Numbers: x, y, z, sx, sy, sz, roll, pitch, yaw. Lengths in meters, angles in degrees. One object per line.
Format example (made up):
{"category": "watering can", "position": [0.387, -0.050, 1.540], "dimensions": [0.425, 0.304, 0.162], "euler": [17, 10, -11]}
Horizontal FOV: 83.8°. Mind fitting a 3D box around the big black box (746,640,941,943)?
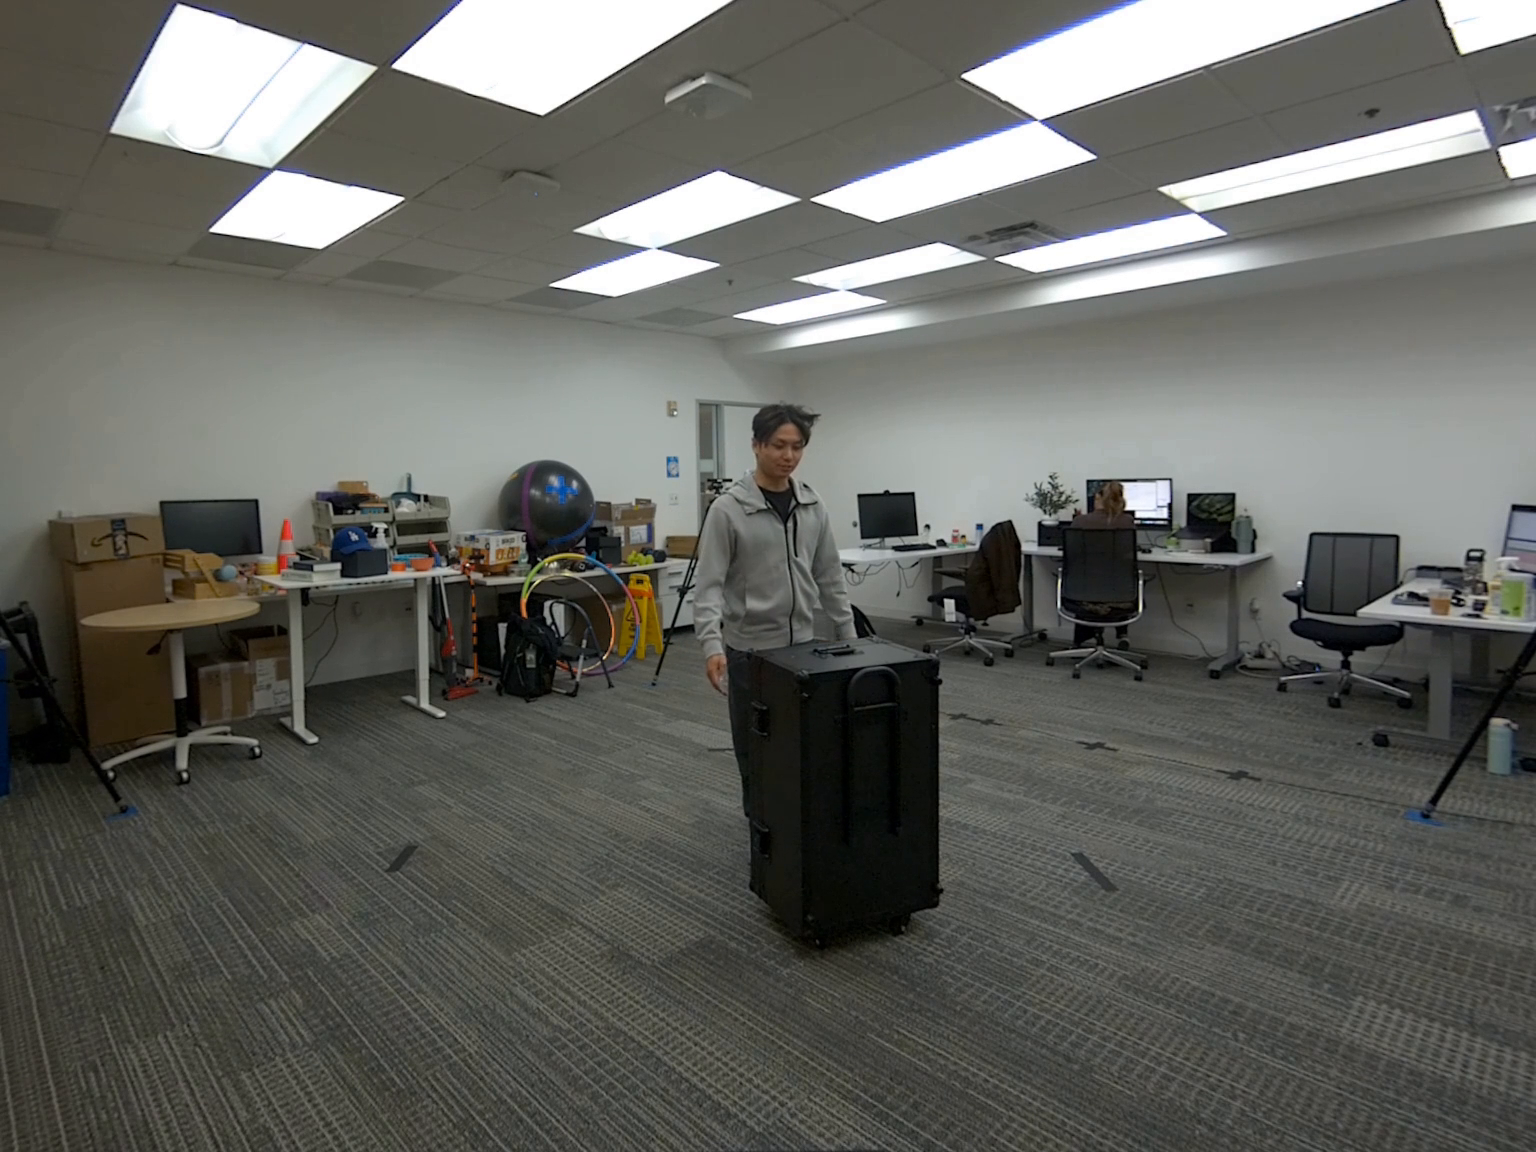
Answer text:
{"category": "big black box", "position": [0.244, 0.670, 2.667], "dimensions": [0.510, 0.858, 0.406], "euler": [-3, 5, -25]}
